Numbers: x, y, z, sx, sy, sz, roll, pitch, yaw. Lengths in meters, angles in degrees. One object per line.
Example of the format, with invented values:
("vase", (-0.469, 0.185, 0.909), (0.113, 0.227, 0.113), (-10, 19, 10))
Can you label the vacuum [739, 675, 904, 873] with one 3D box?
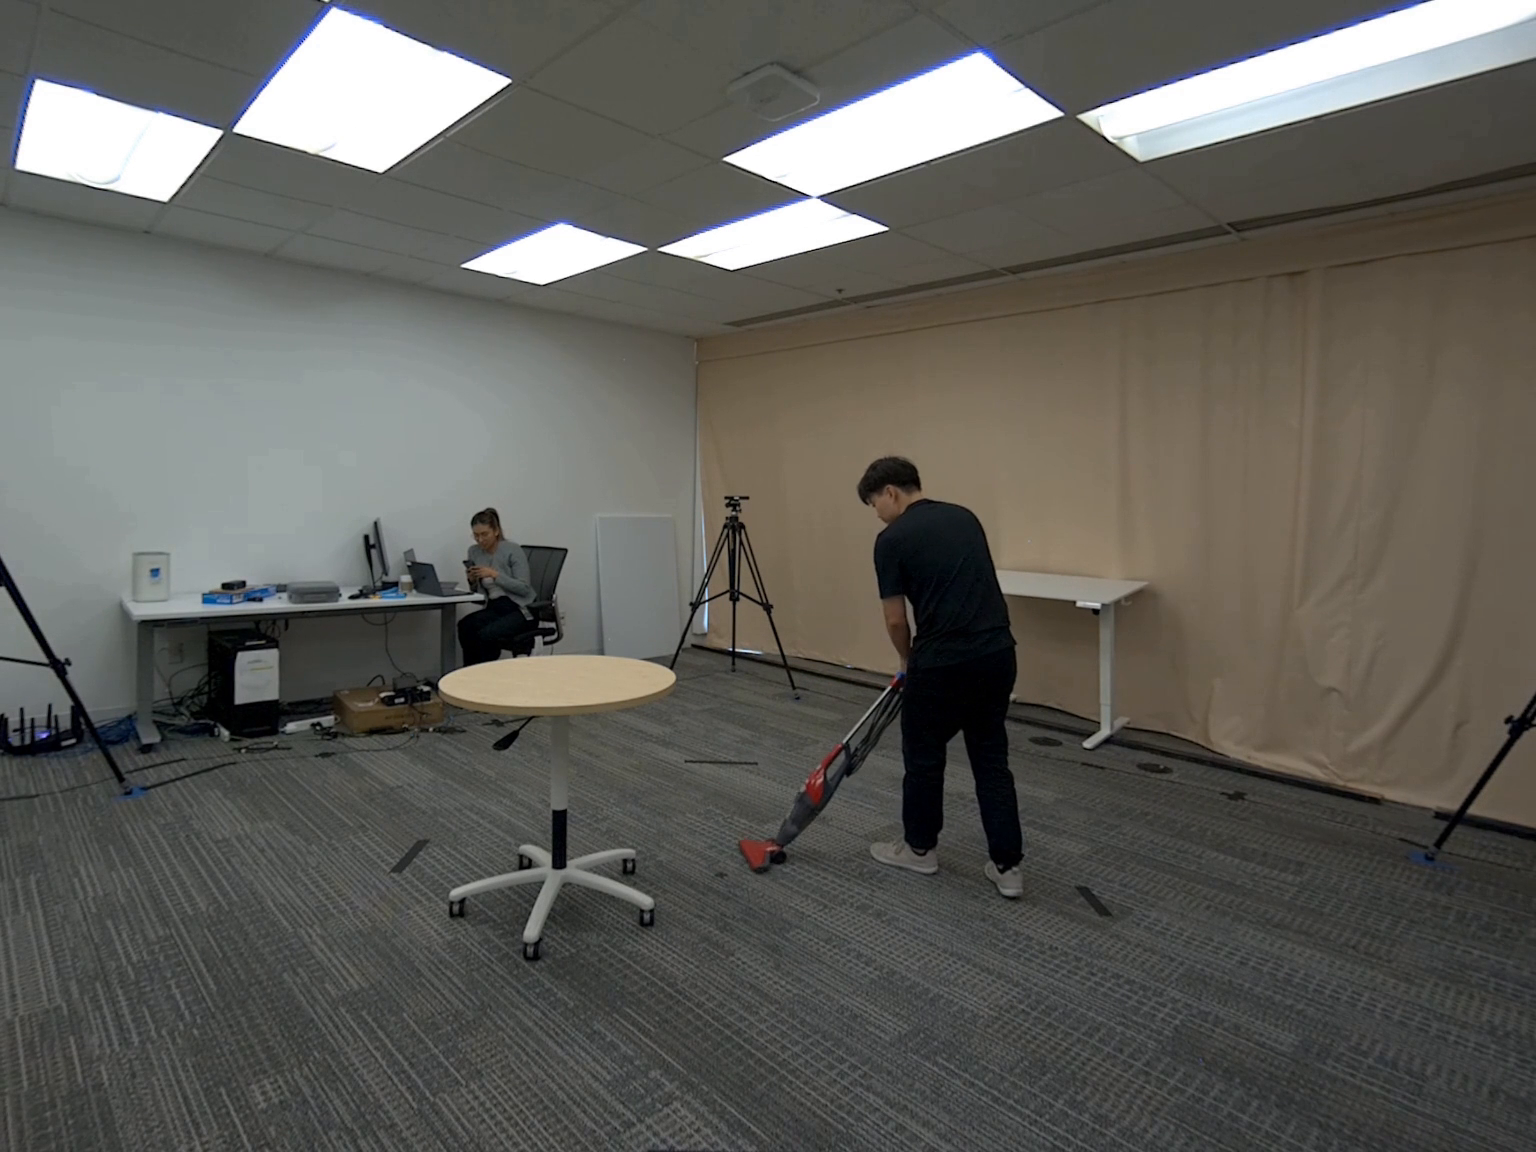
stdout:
("vacuum", (0.310, 0.697, 3.318), (0.142, 1.049, 0.256), (44, -8, -14))
